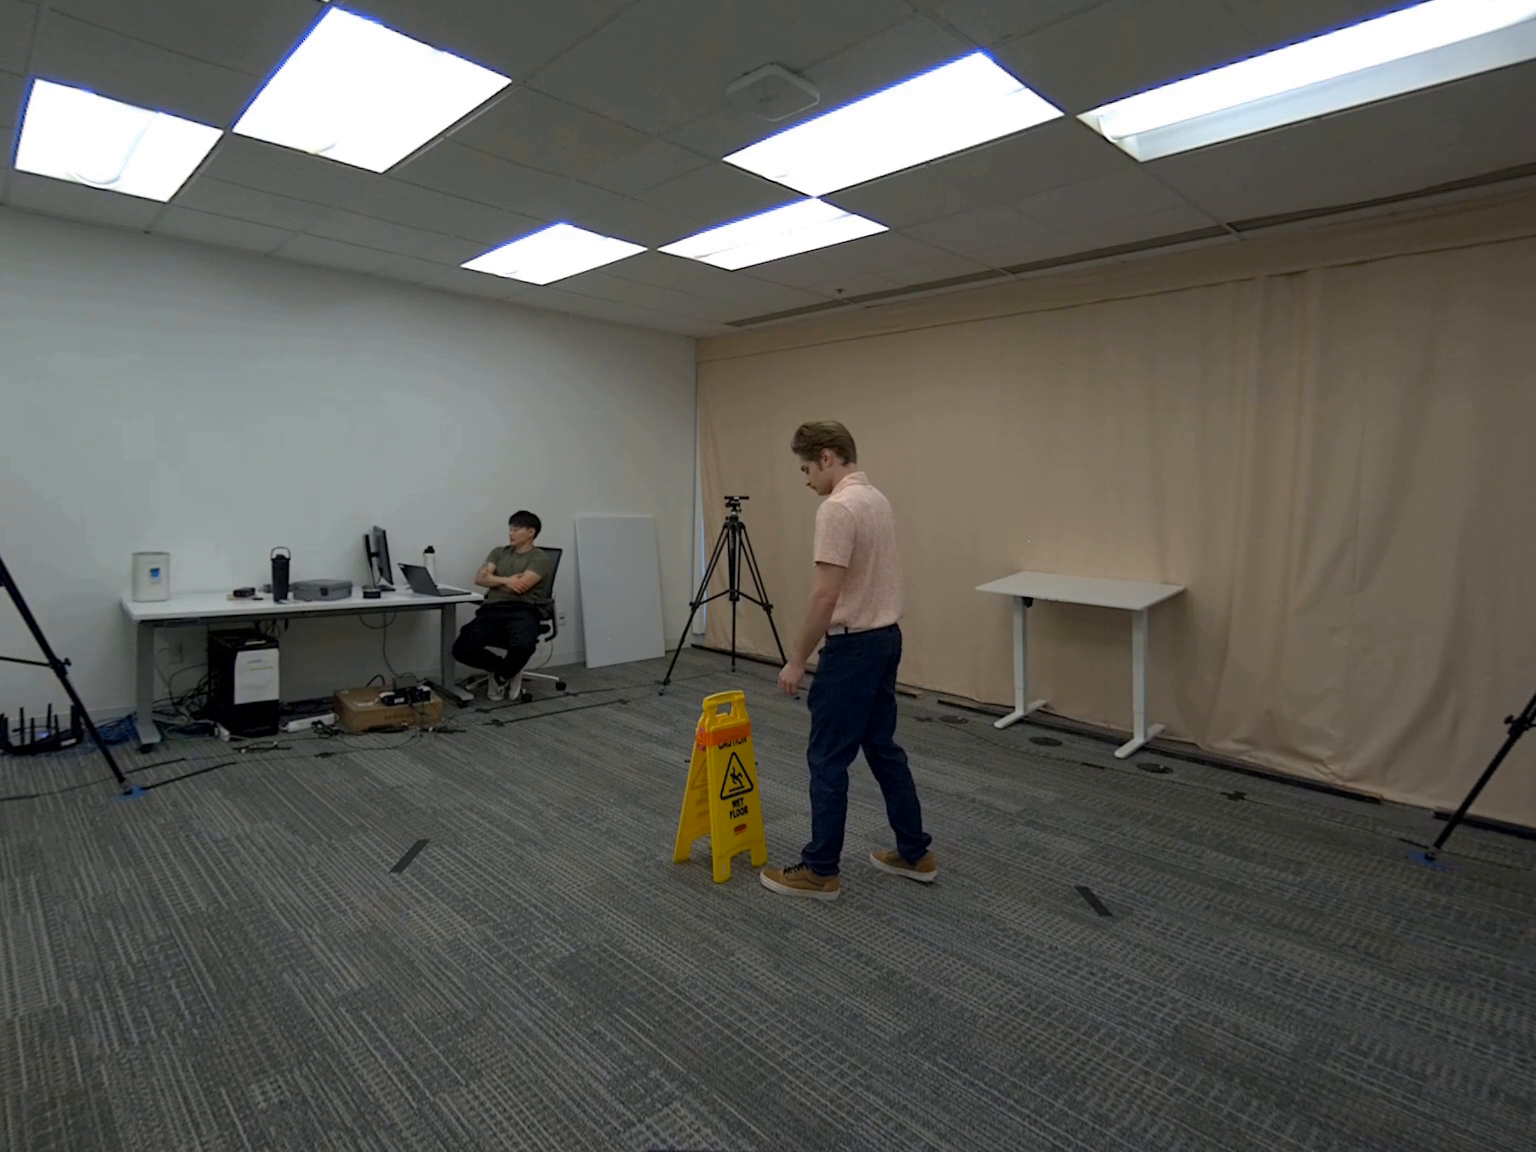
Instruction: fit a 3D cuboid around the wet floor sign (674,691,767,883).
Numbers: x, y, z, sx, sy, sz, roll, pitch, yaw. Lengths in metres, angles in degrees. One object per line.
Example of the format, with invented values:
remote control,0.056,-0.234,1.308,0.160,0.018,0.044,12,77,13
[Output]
wet floor sign,-0.182,0.765,3.193,0.297,0.645,0.276,3,3,44
